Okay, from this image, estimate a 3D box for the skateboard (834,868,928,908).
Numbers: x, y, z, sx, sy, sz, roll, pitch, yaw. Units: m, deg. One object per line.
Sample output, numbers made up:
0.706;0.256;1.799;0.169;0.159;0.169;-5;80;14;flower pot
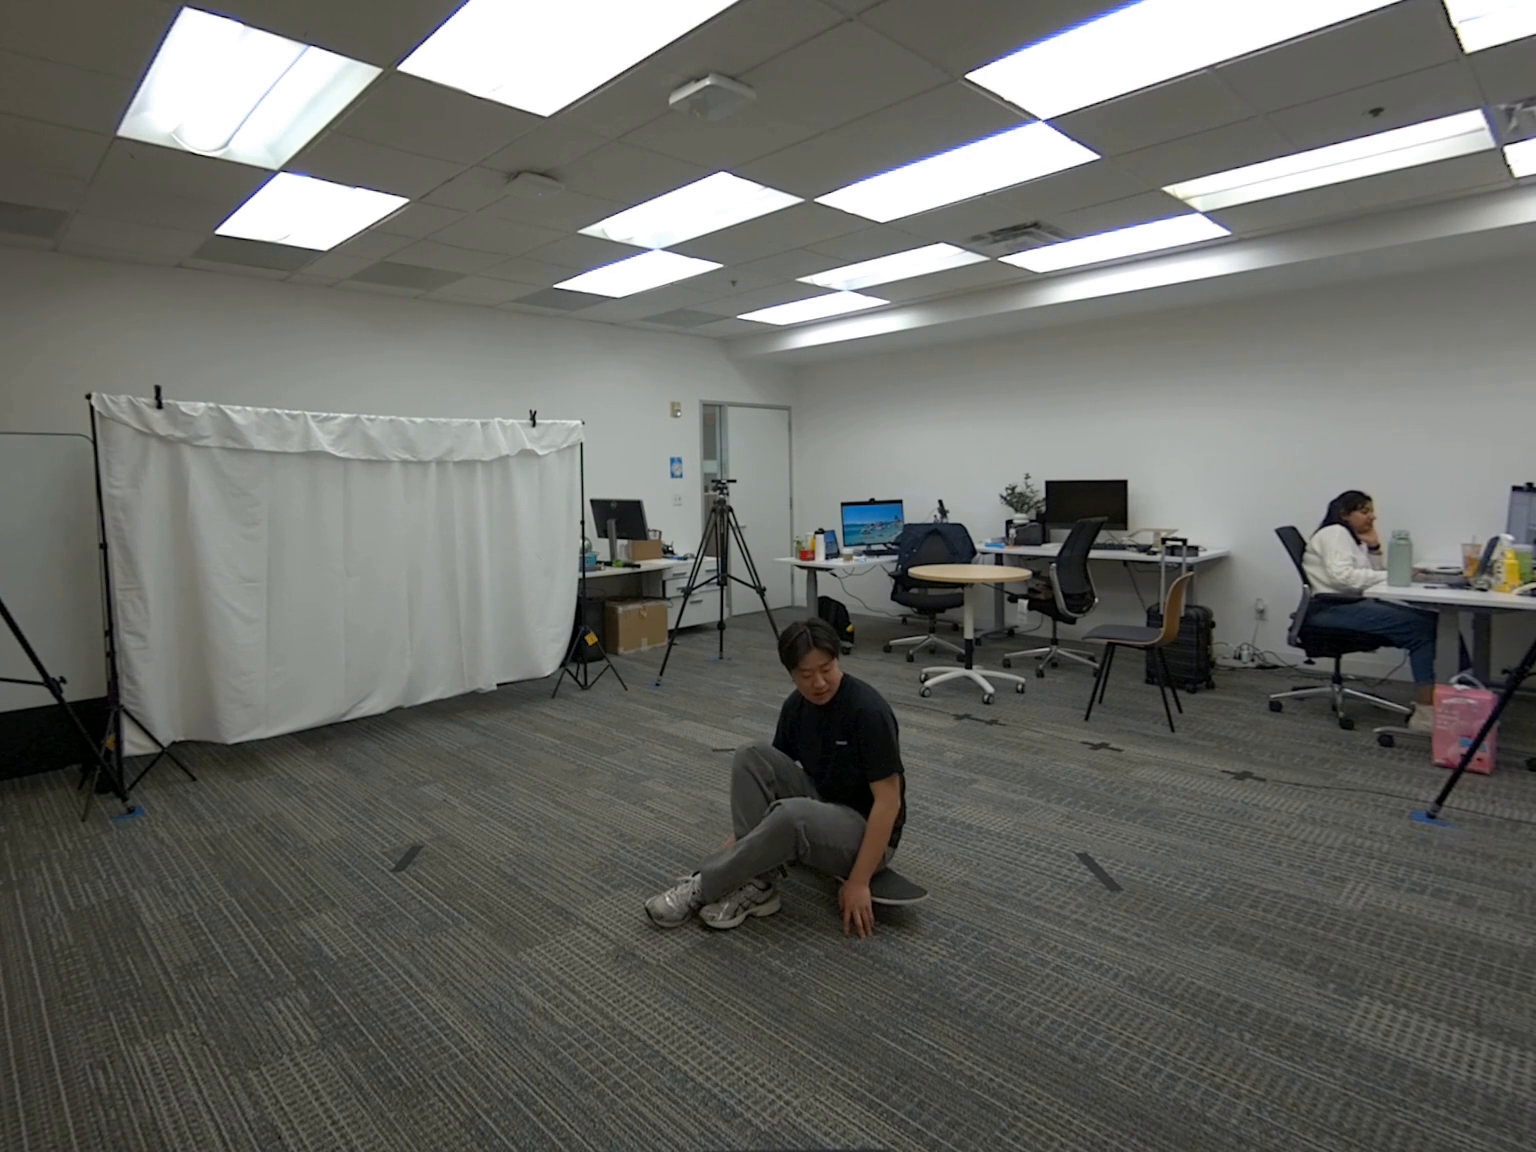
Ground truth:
0.252;1.002;2.949;0.189;0.110;0.808;0;5;-30;skateboard
